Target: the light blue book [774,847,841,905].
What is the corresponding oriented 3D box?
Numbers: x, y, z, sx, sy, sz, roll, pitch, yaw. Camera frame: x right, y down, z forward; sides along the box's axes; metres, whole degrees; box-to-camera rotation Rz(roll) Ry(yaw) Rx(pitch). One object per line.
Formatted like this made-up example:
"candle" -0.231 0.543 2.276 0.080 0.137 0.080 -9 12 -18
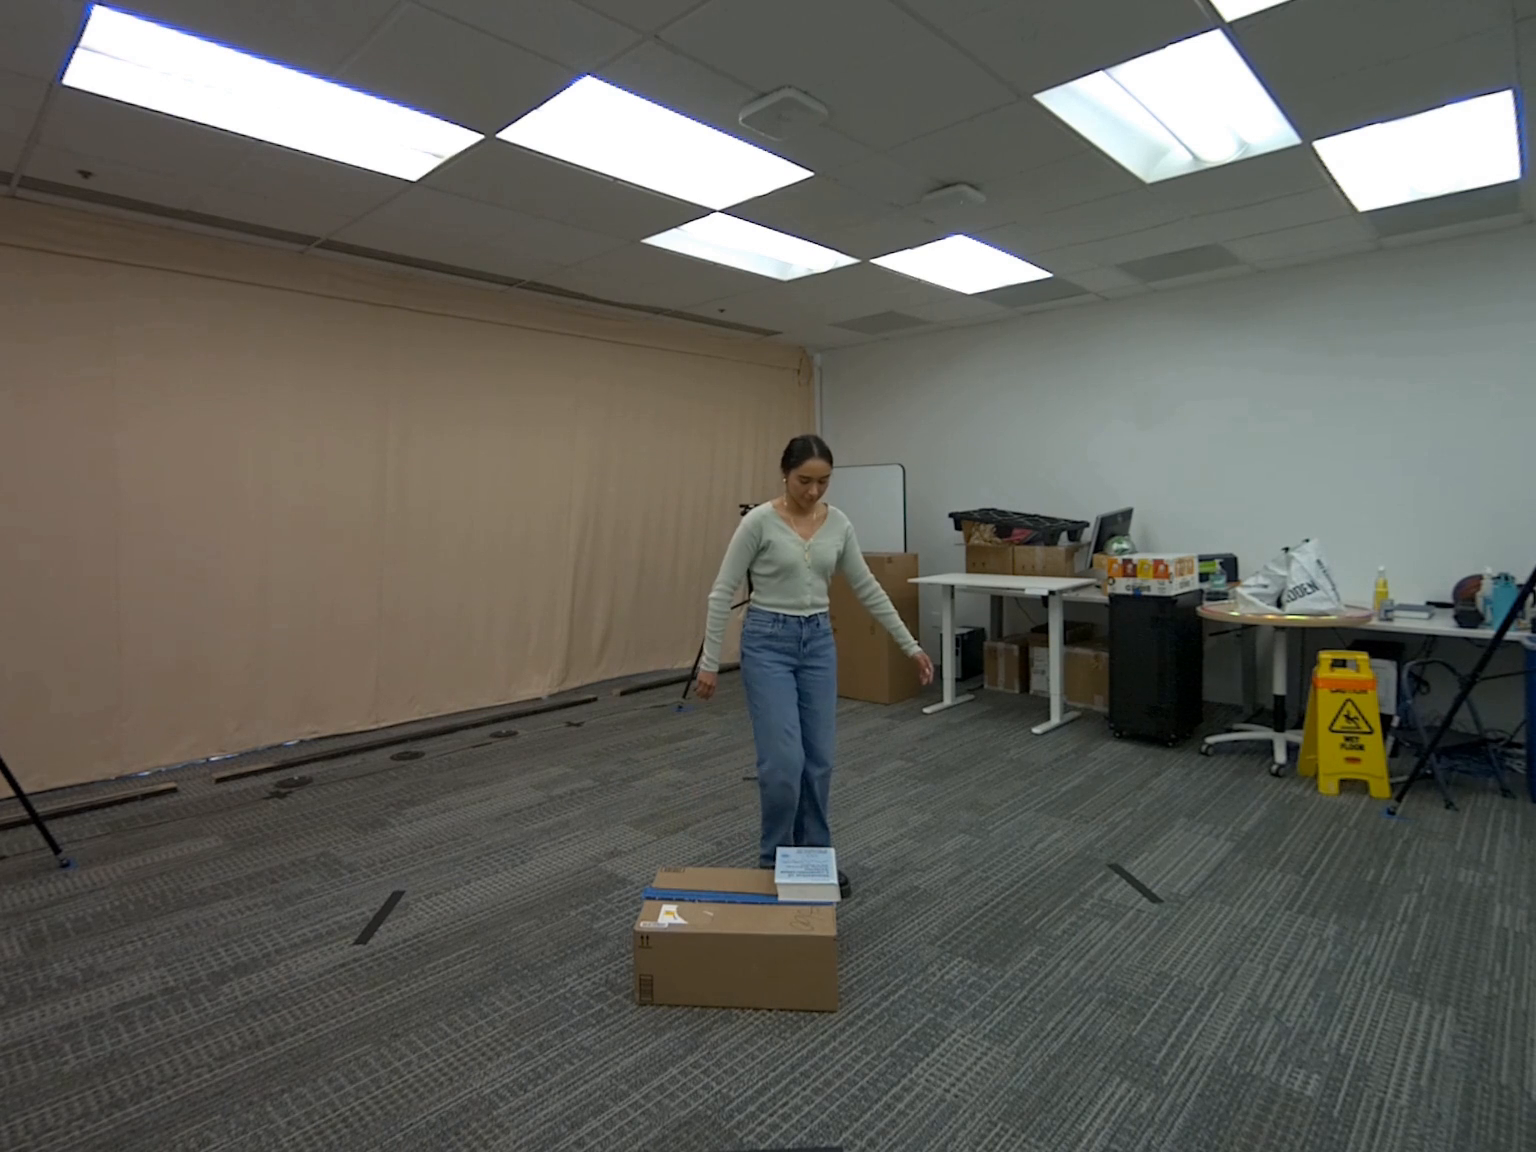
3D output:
"light blue book" 0.118 0.916 2.621 0.192 0.059 0.260 -2 5 3
